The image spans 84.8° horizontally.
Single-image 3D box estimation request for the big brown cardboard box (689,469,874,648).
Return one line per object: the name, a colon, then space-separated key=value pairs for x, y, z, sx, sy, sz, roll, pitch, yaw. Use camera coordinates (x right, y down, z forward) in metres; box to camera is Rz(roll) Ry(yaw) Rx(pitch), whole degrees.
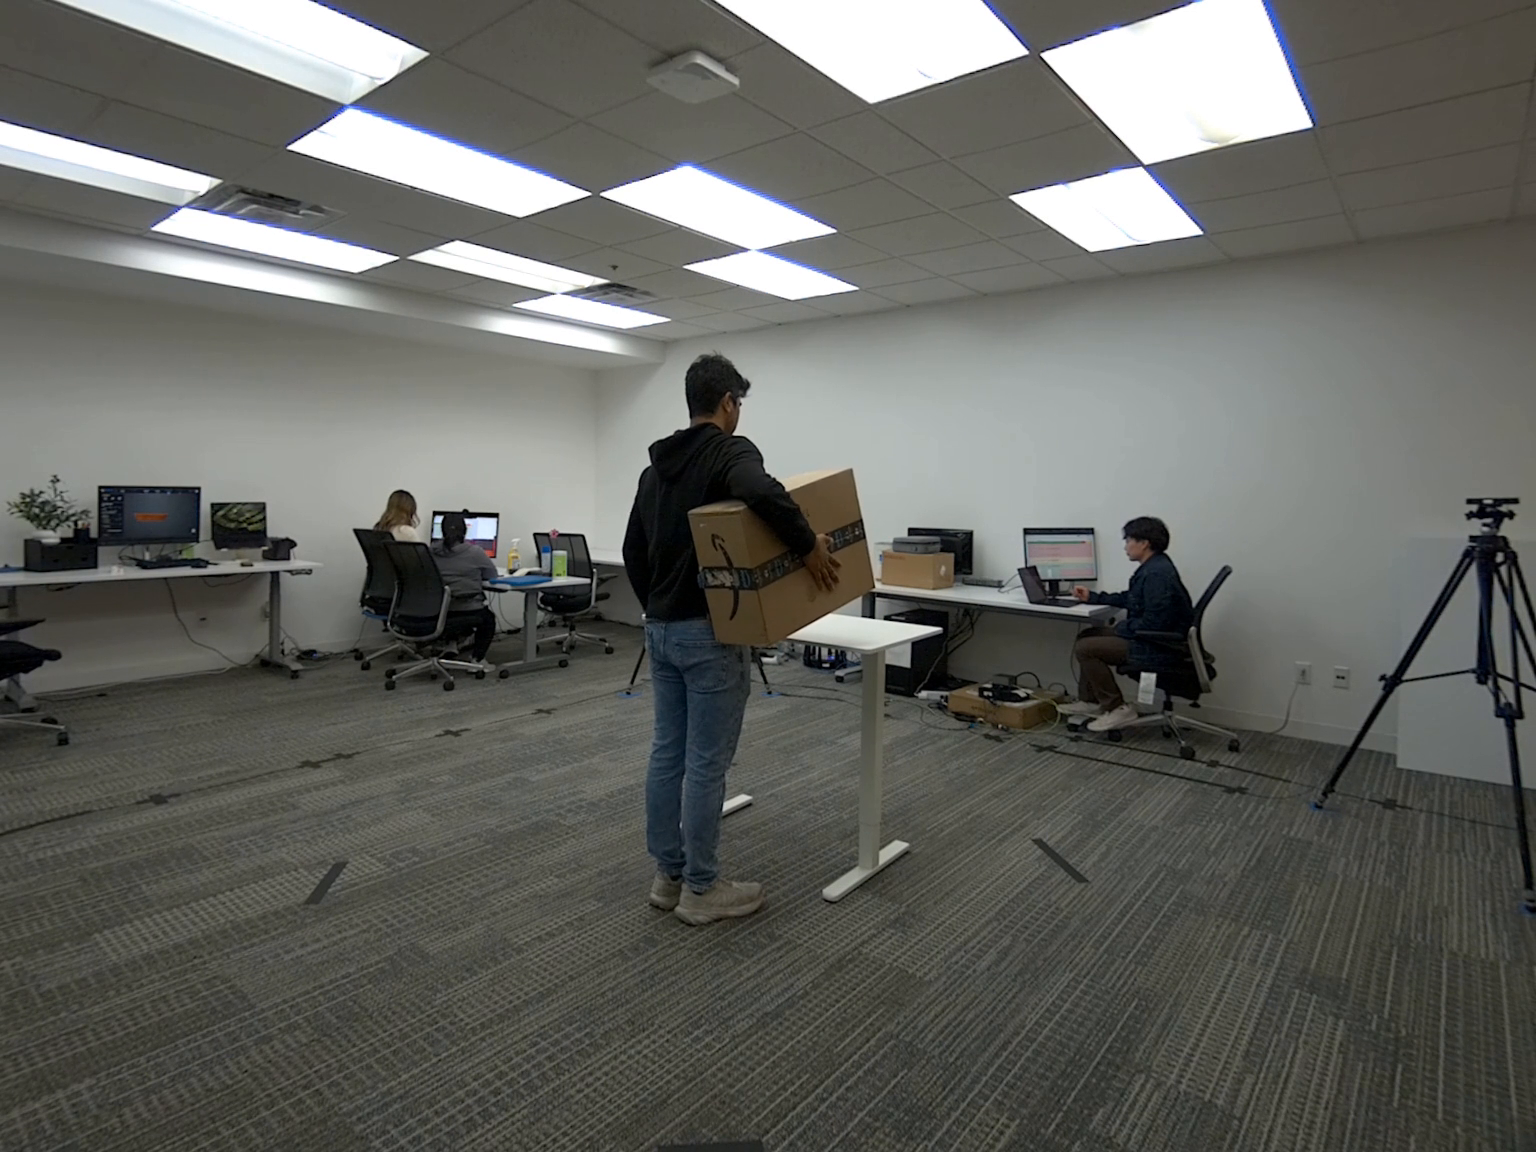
big brown cardboard box: x=0.041 y=-0.072 z=2.687 sx=0.240 sy=0.412 sz=0.578 roll=0 pitch=16 yaw=45
